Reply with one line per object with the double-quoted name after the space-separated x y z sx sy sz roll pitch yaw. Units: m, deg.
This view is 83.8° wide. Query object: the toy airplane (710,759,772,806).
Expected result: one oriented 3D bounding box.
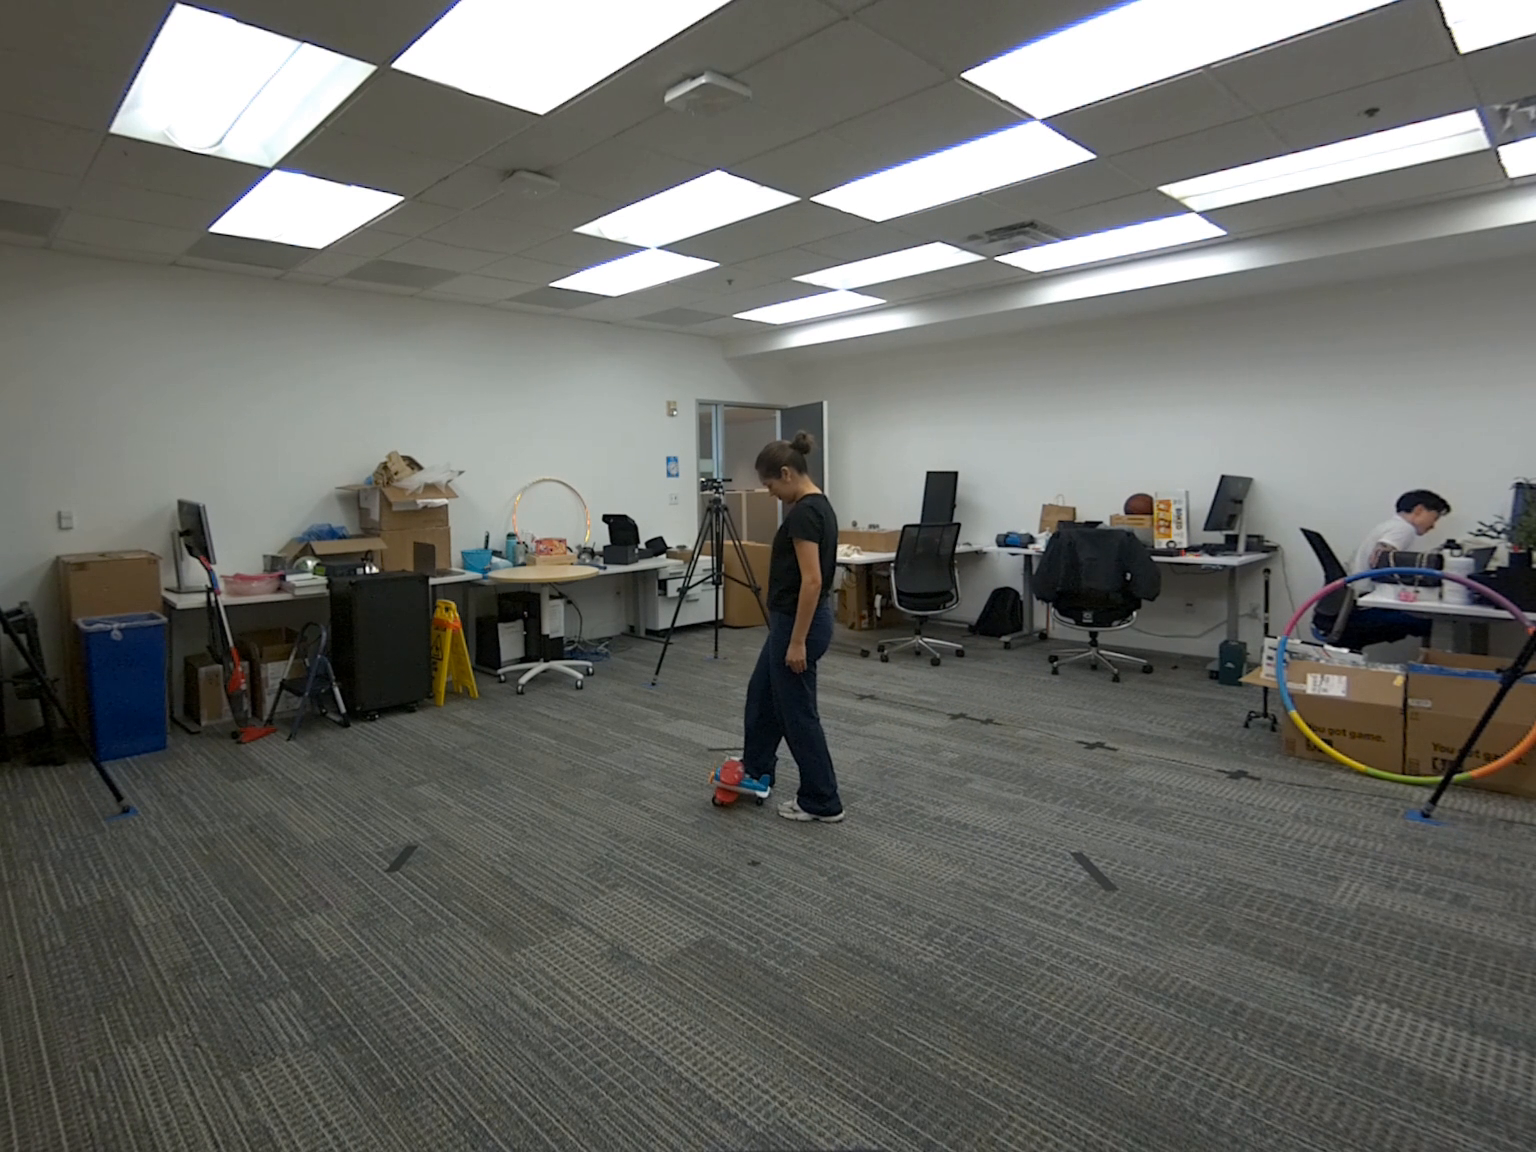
-0.133 0.902 3.708 0.255 0.155 0.257 -4 7 -20 "toy airplane"
